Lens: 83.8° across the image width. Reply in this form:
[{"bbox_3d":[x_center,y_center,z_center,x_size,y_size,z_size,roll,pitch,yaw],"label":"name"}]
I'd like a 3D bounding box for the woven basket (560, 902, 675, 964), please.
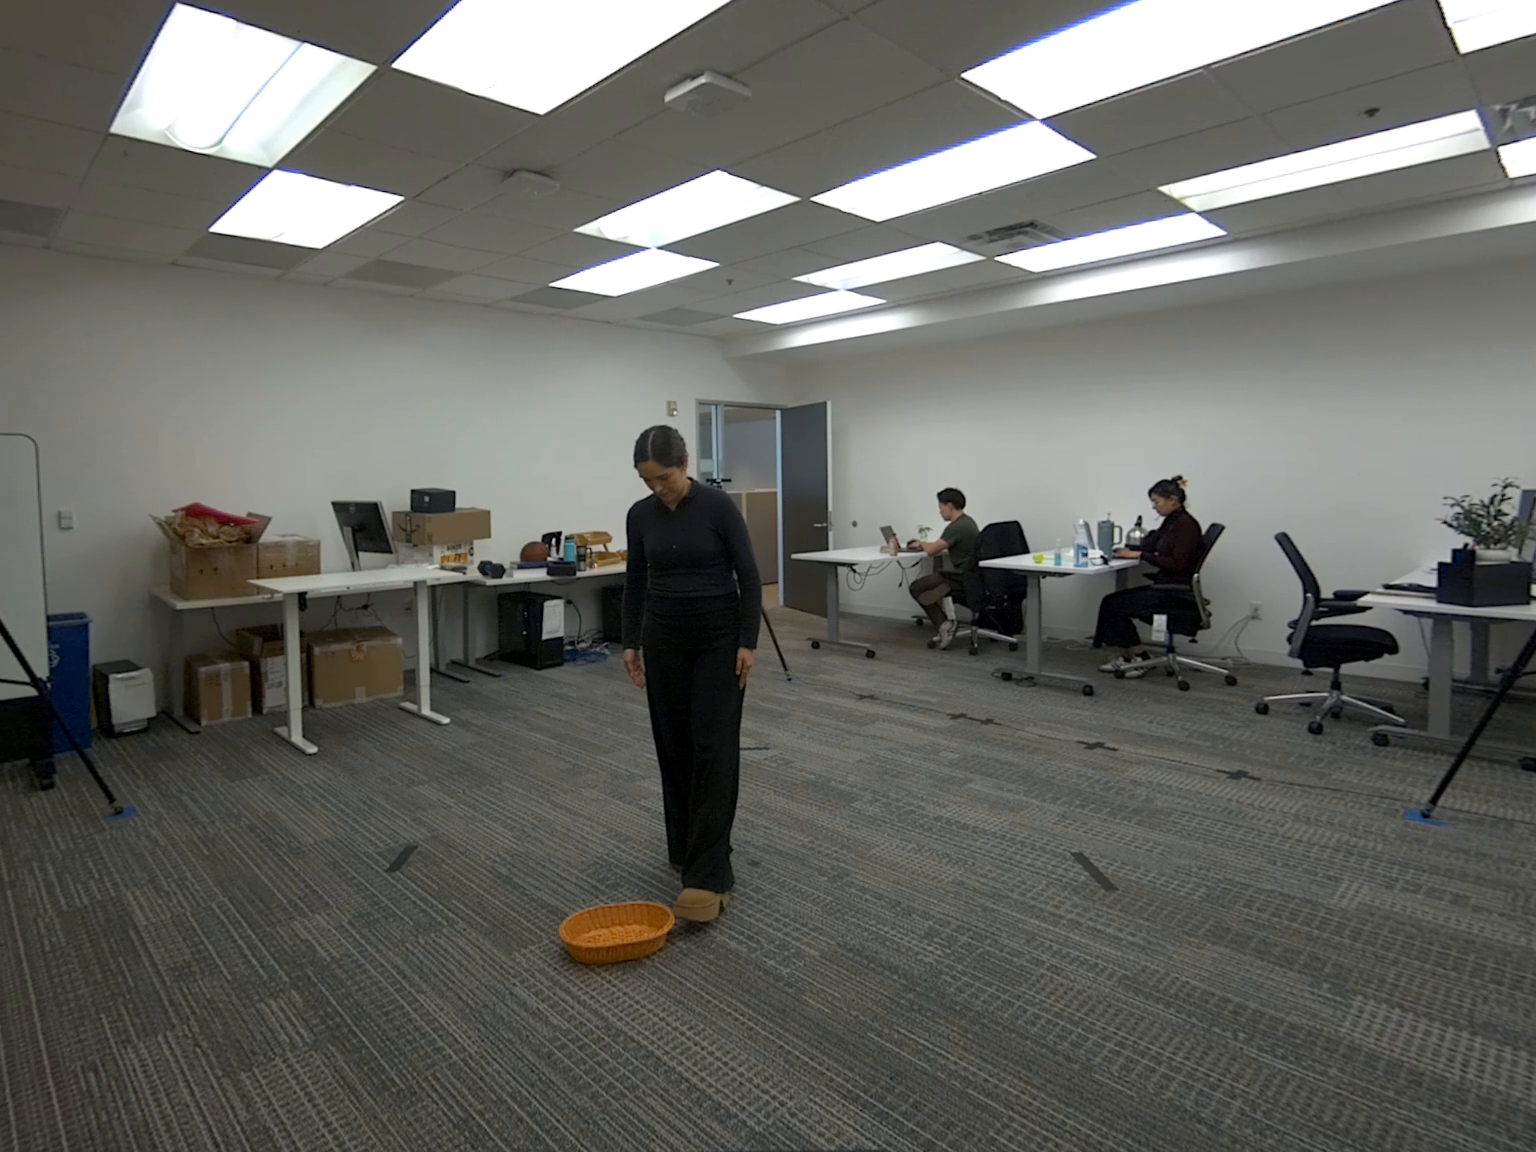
[{"bbox_3d":[-0.447,1.075,2.569,0.346,0.073,0.256,-3,5,-13],"label":"woven basket"}]
